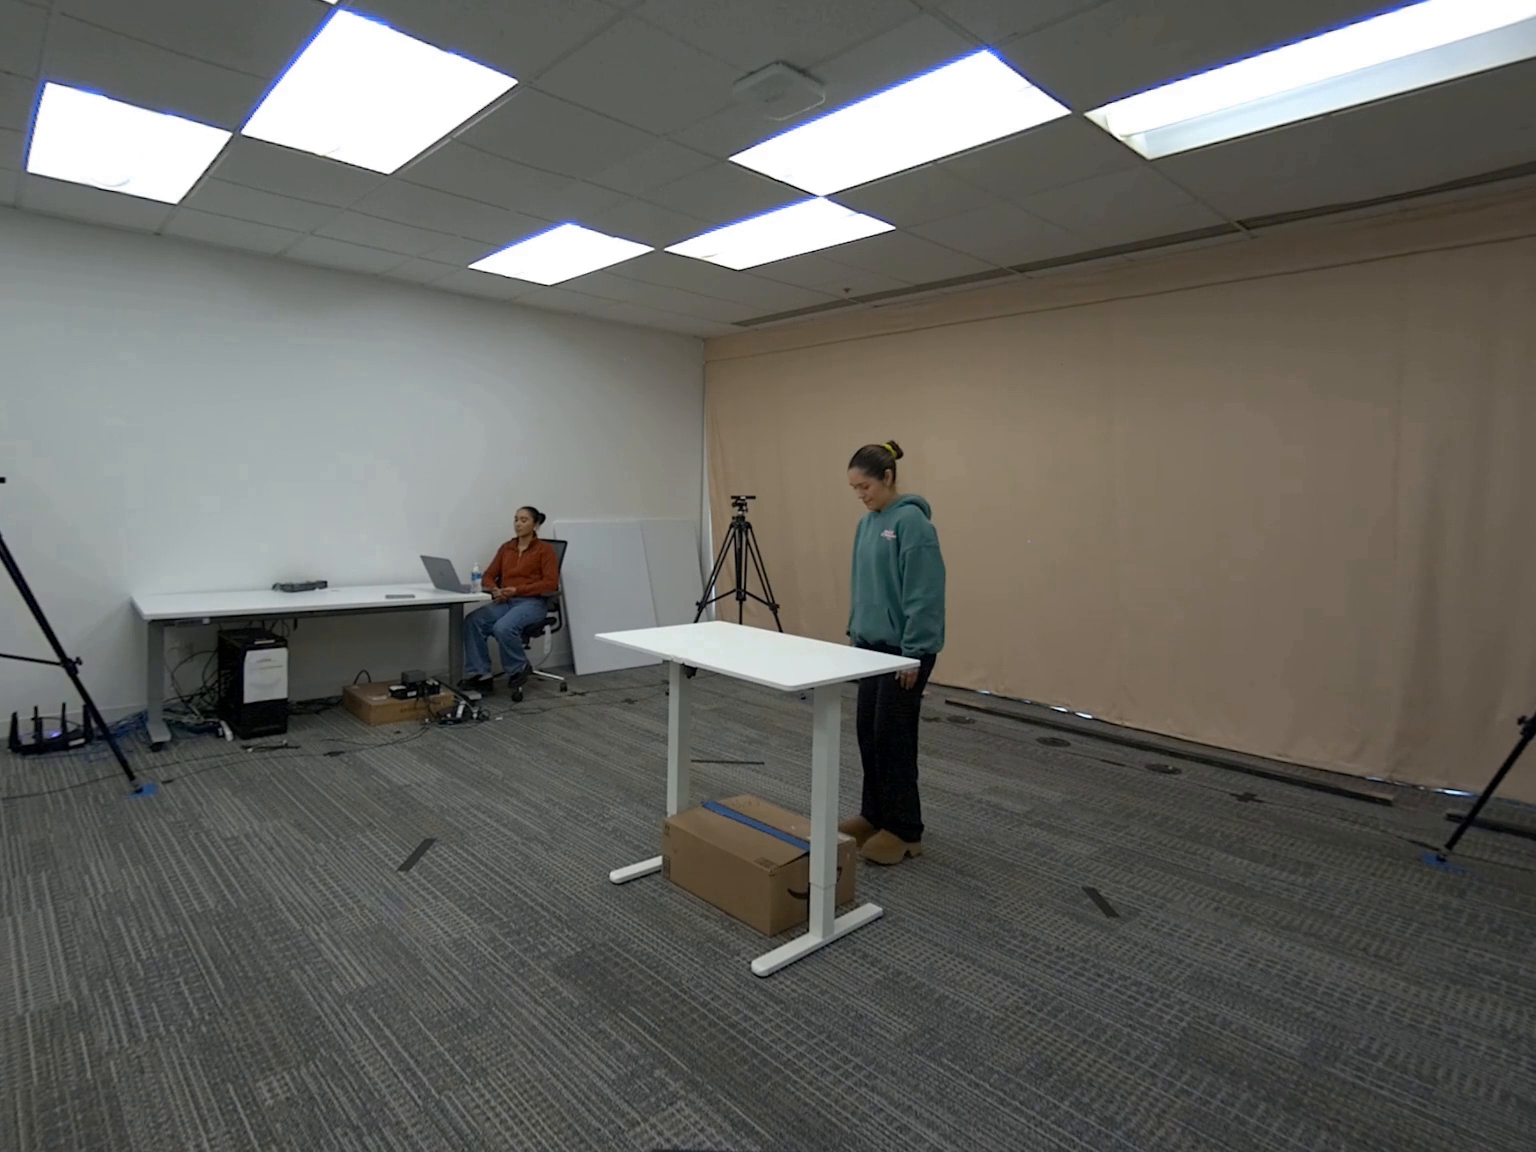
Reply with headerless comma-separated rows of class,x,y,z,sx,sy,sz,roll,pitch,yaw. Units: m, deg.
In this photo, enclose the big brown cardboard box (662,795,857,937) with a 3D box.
big brown cardboard box,-0.042,1.004,2.992,0.408,0.232,0.604,-3,6,-44
